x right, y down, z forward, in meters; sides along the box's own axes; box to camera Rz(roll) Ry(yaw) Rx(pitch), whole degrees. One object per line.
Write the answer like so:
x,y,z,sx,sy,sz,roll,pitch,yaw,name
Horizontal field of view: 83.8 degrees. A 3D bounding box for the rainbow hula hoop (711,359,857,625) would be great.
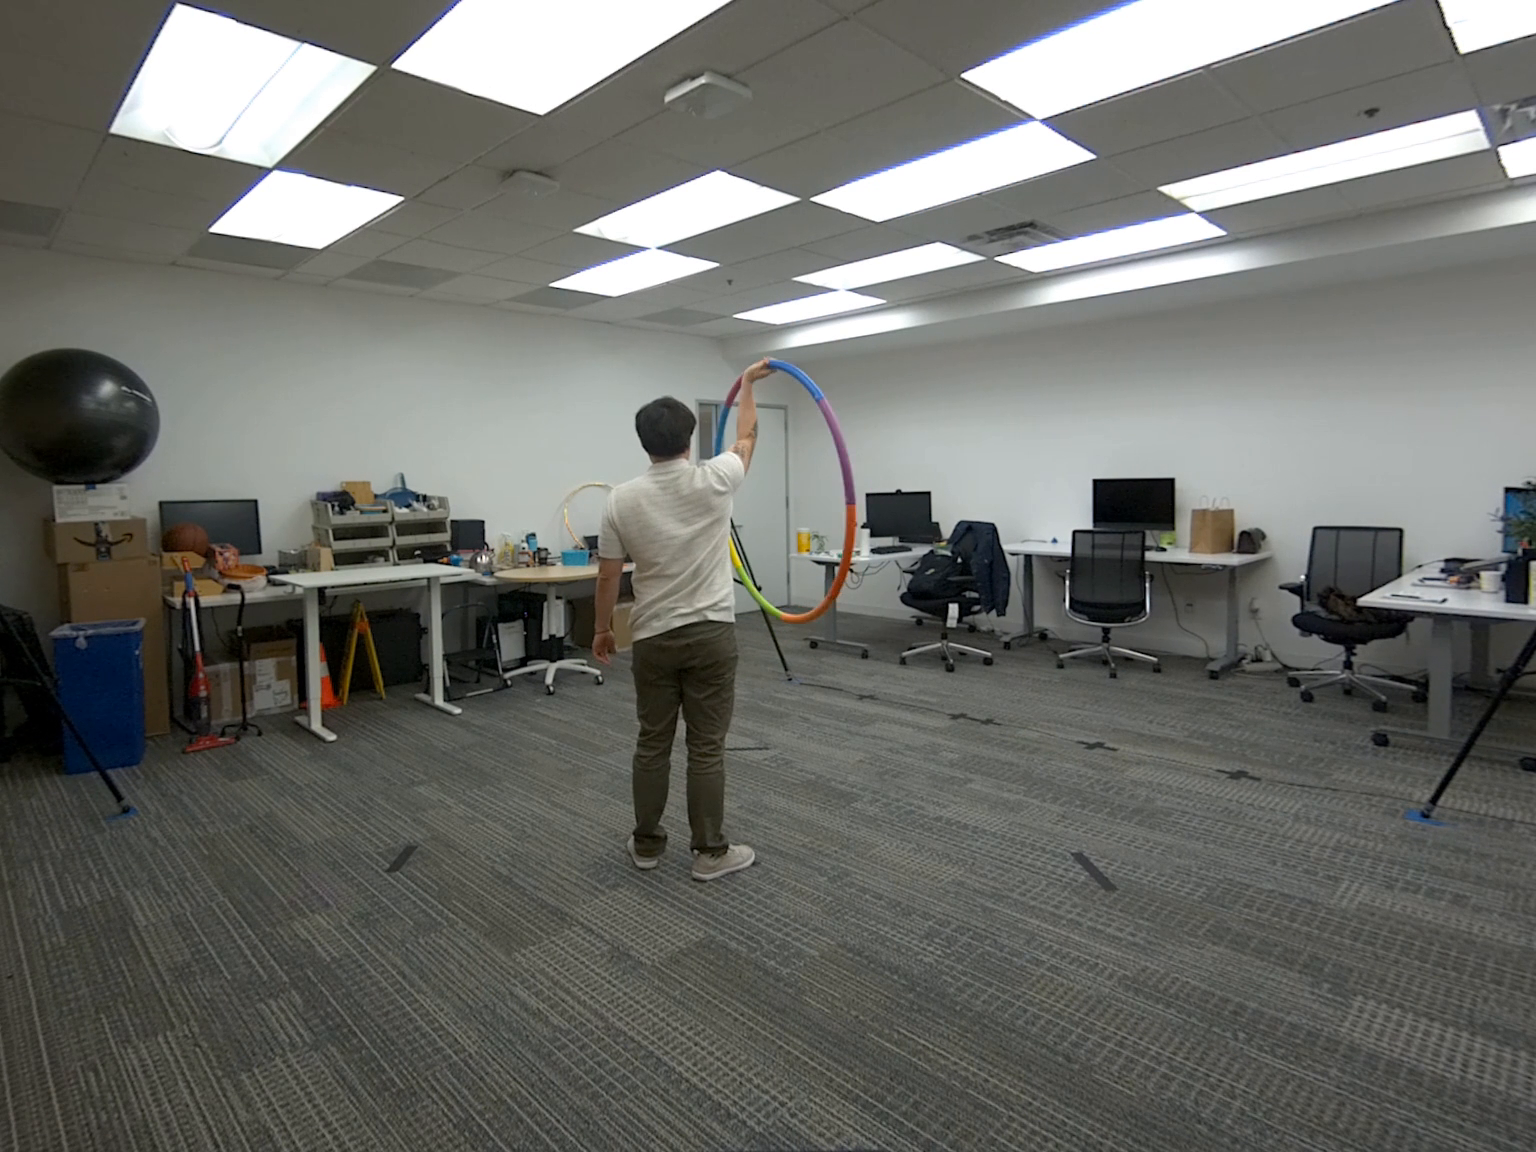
0.019,-0.313,3.230,0.035,0.972,1.005,-9,8,-28,rainbow hula hoop
